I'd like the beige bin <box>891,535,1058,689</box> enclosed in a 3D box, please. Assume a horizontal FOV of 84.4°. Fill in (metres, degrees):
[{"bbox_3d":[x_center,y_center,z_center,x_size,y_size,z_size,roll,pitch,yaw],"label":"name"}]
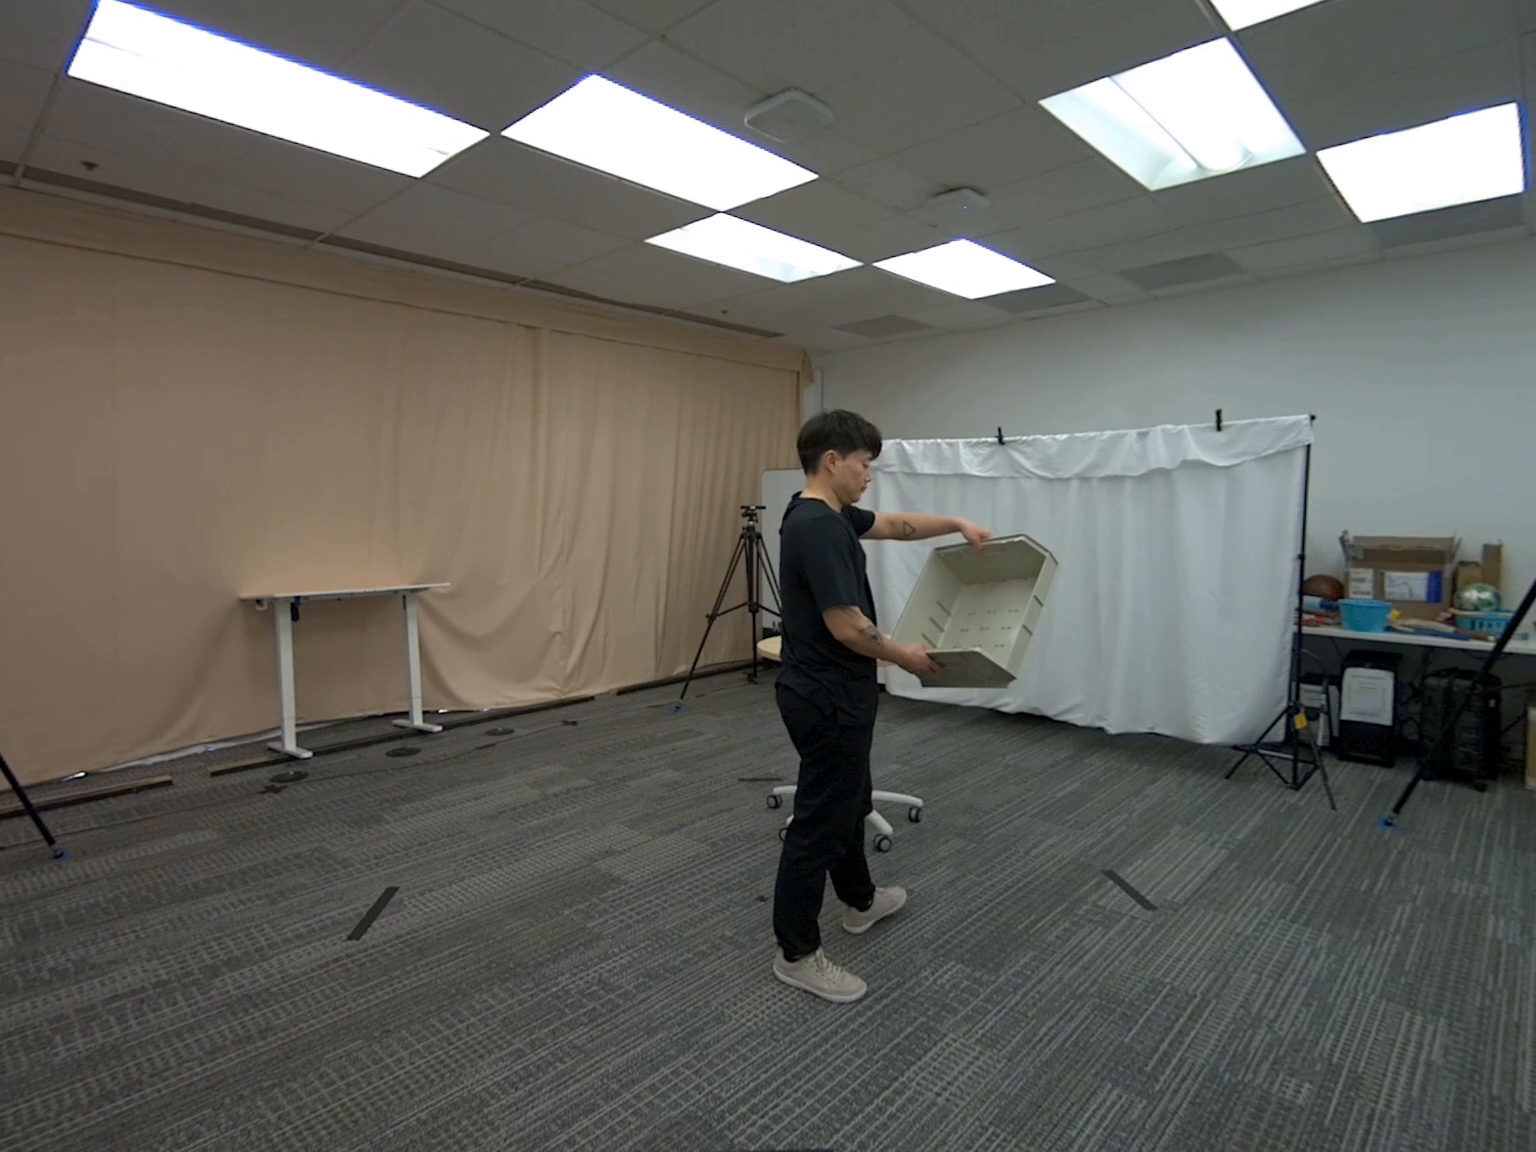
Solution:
[{"bbox_3d":[0.624,0.108,2.488,0.184,0.422,0.387,44,-30,-24],"label":"beige bin"}]
